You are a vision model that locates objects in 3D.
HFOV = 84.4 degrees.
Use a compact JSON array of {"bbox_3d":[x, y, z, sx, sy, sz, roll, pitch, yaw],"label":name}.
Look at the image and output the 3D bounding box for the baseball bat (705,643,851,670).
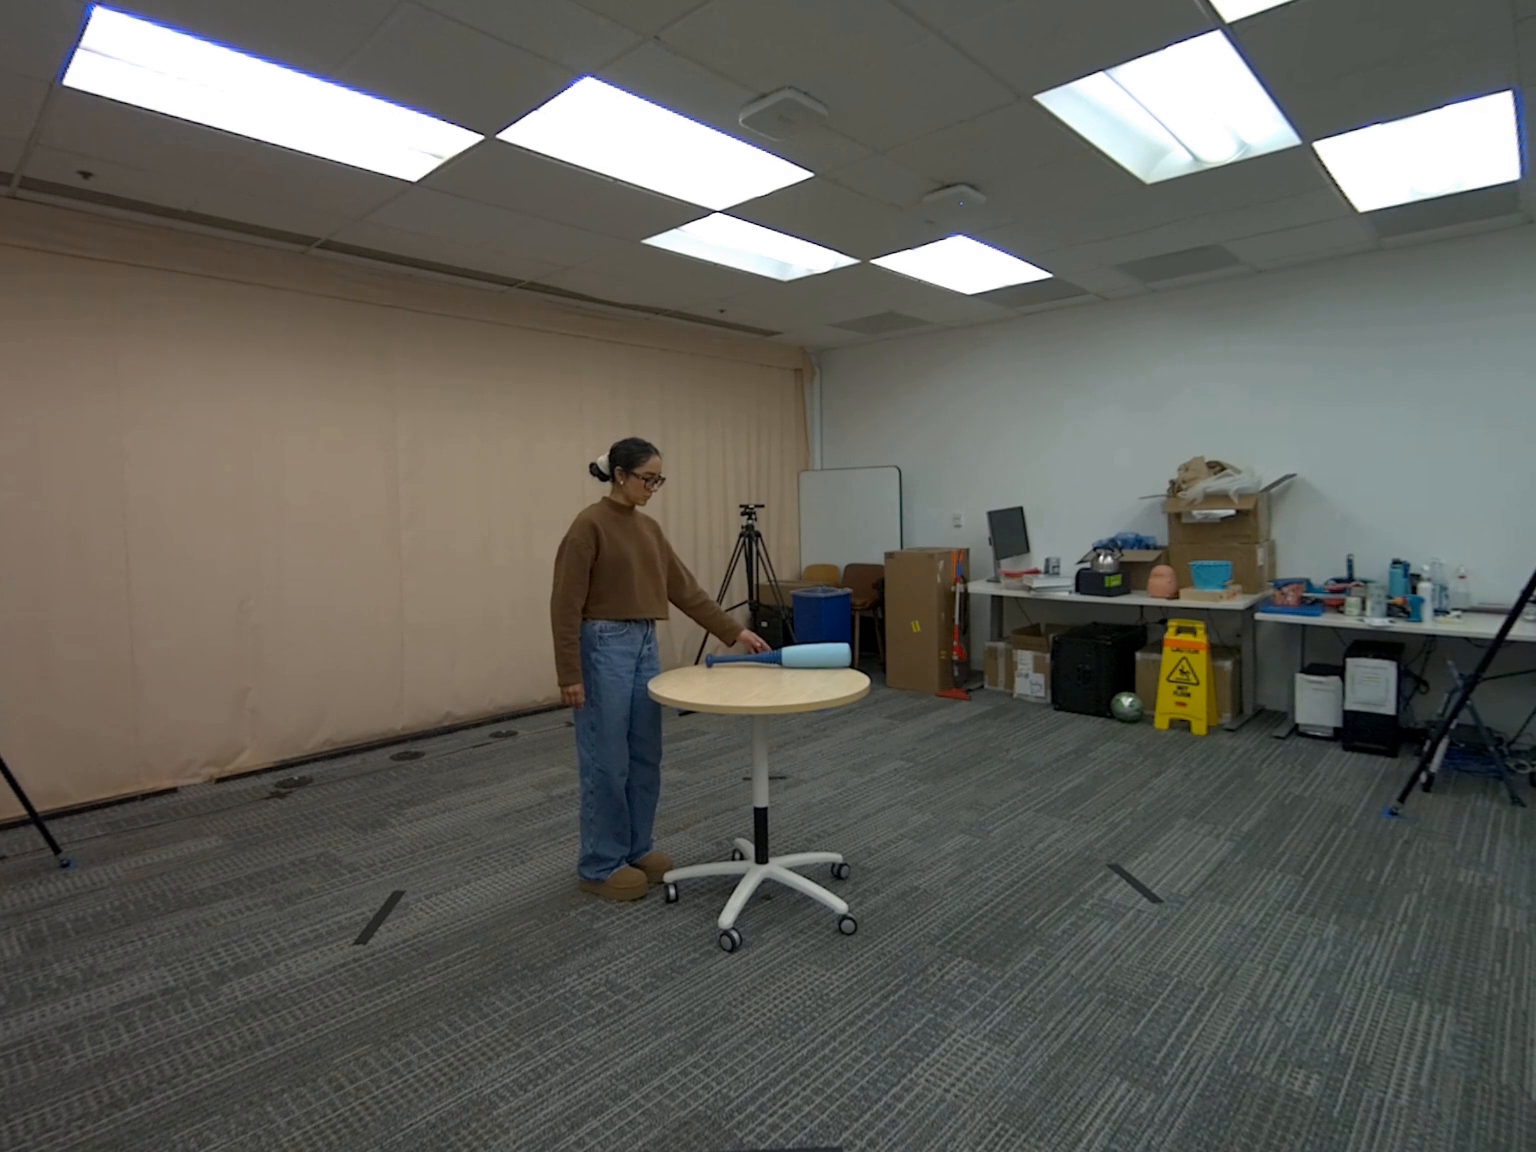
[{"bbox_3d":[0.039,0.308,3.141,0.549,0.089,0.088,-3,3,10],"label":"baseball bat"}]
